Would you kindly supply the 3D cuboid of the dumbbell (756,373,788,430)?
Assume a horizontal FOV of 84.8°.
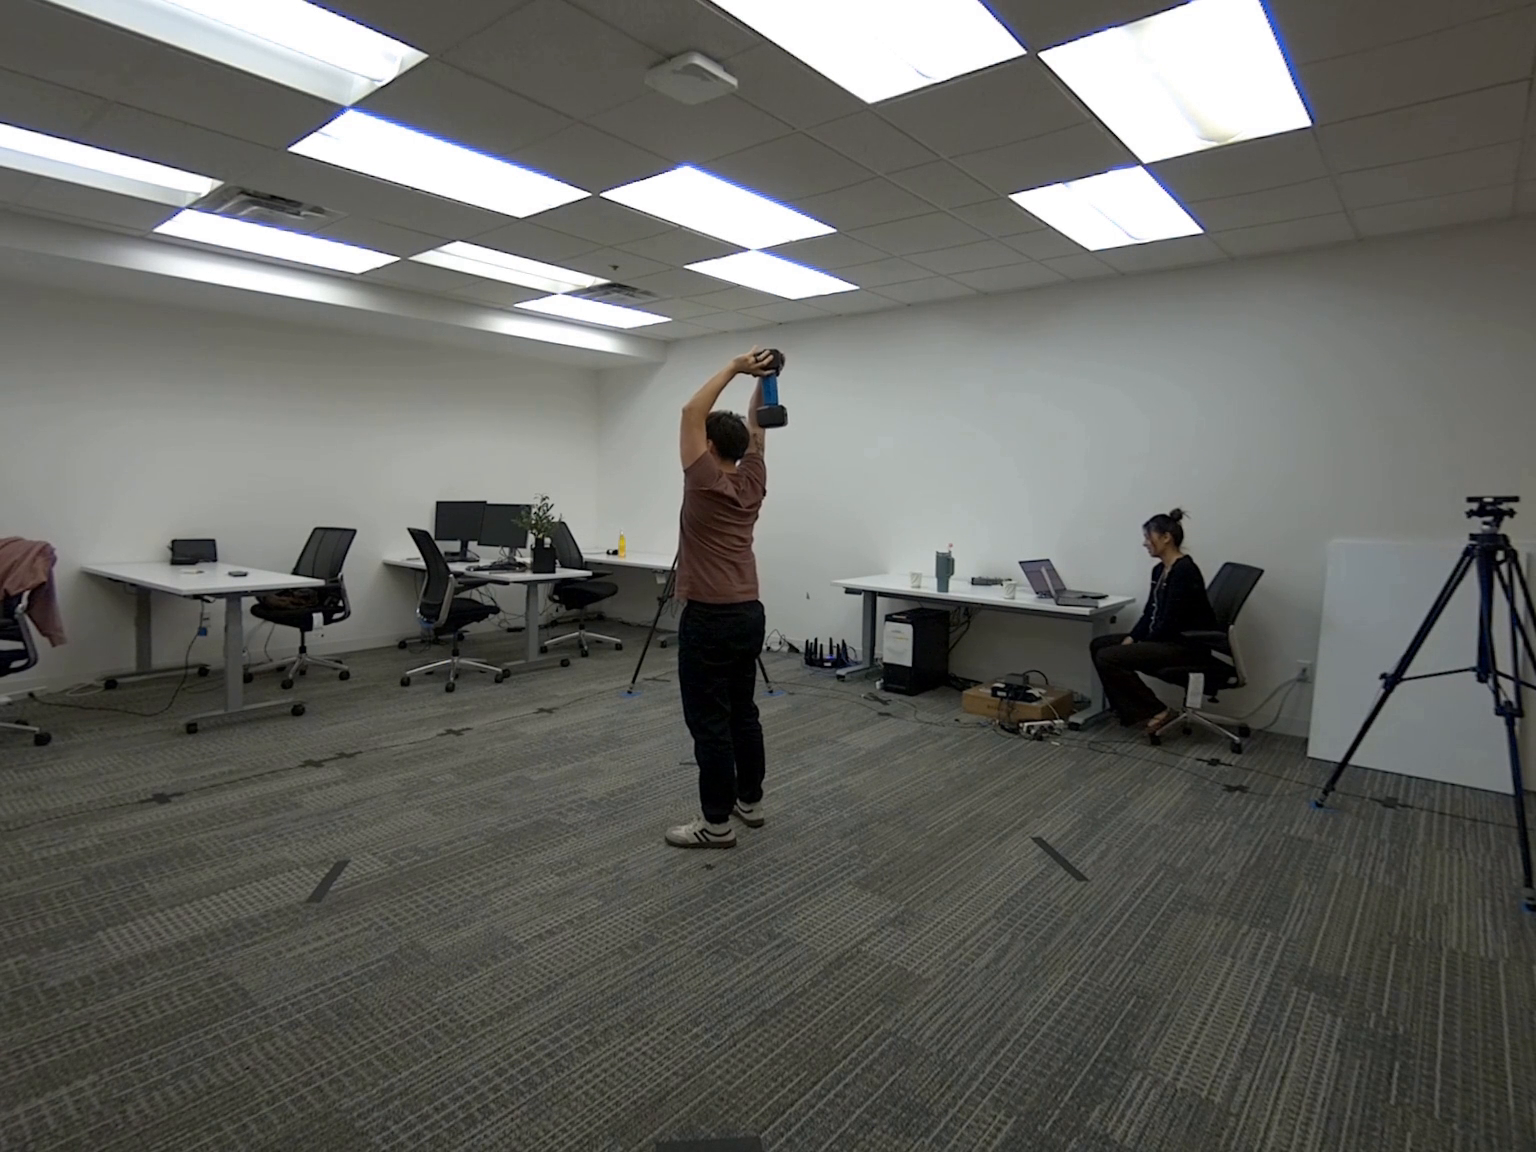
[{"bbox_3d":[-0.007,-0.716,3.258,0.106,0.294,0.126,-7,-2,-44],"label":"dumbbell"}]
